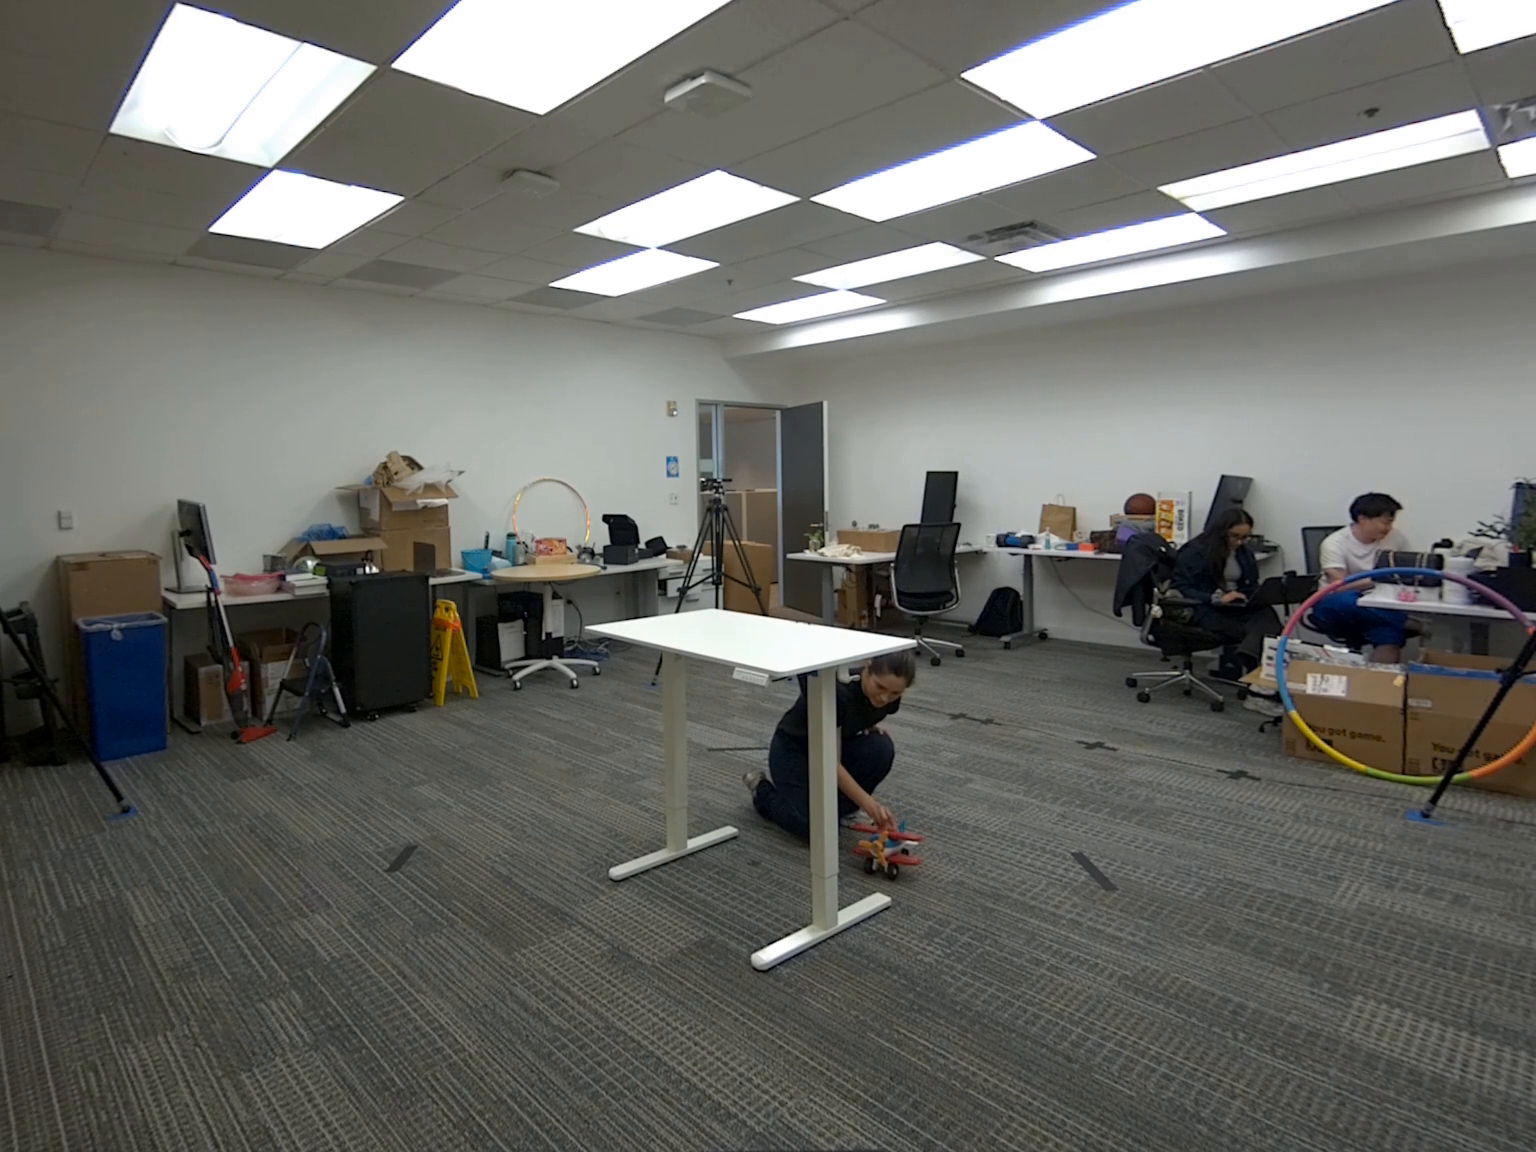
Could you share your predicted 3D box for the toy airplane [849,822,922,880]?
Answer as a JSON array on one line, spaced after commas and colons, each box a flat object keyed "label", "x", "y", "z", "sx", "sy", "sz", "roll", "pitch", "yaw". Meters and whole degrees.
[{"label": "toy airplane", "x": 0.414, "y": 0.969, "z": 3.086, "sx": 0.252, "sy": 0.156, "sz": 0.259, "roll": -1, "pitch": 5, "yaw": 4}]
